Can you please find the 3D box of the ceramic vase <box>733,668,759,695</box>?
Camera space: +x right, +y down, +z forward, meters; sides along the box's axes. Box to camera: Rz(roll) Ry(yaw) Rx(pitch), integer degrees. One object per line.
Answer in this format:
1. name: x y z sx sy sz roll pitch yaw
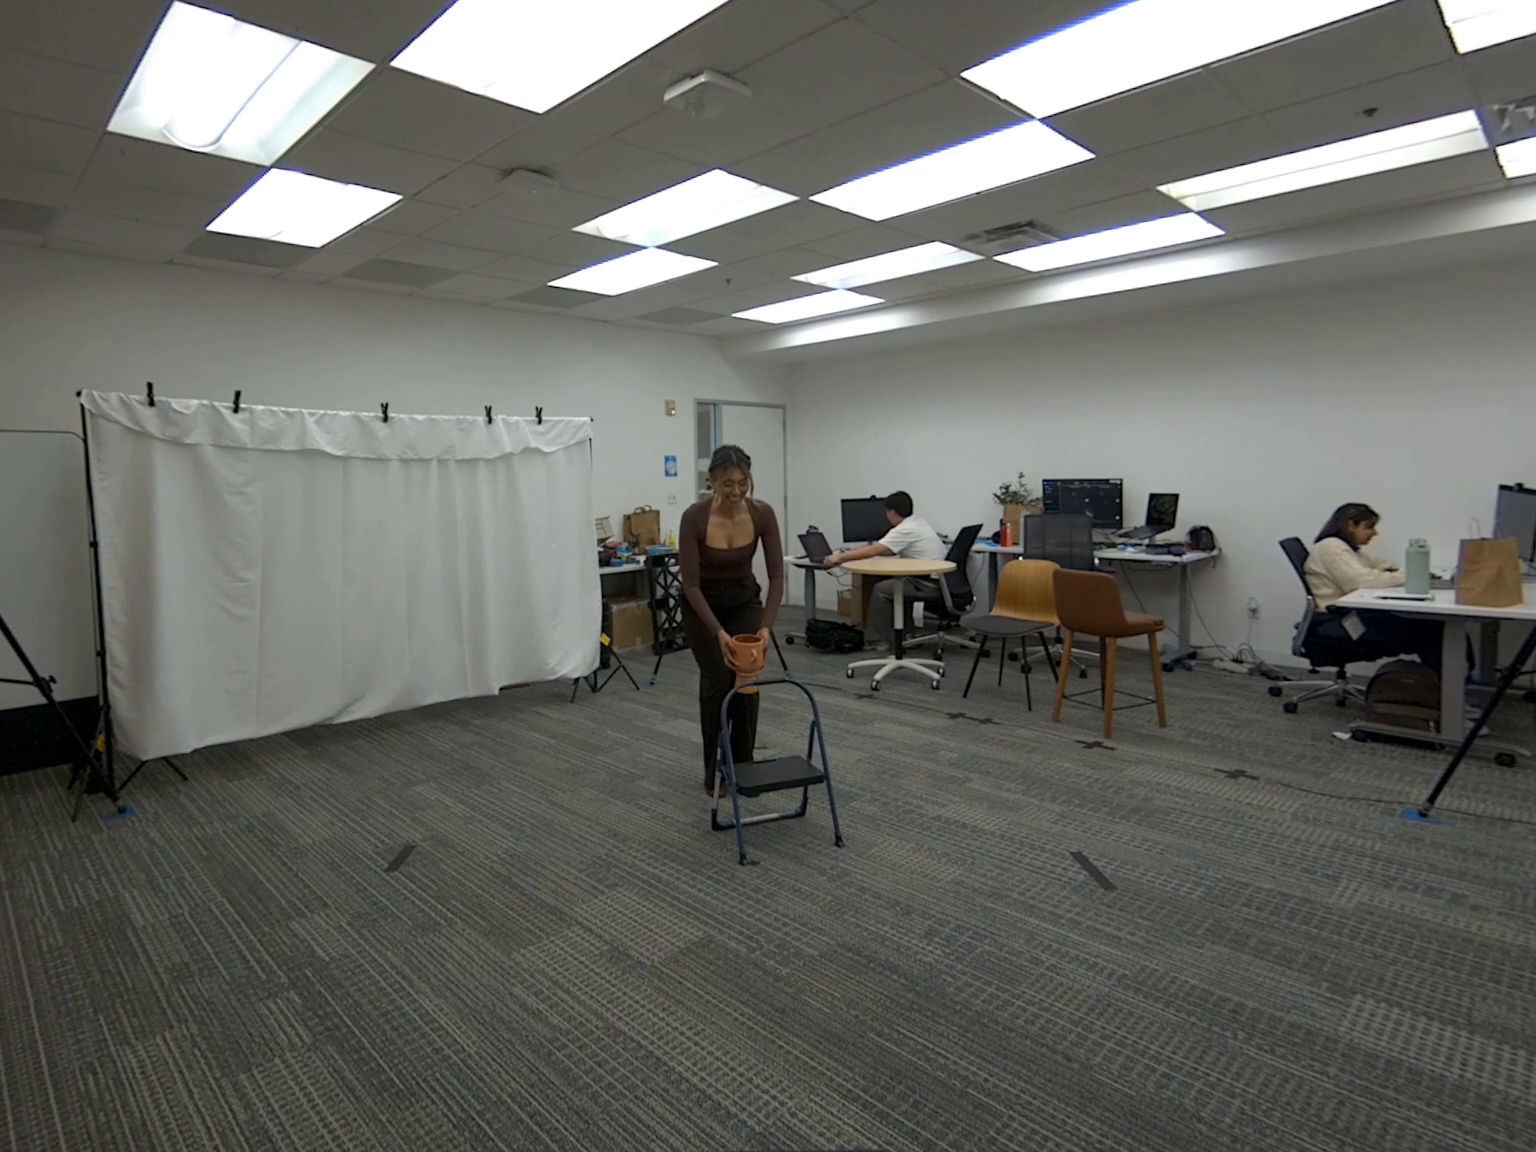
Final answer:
1. ceramic vase: -0.090 0.375 3.576 0.137 0.218 0.157 4 12 20
